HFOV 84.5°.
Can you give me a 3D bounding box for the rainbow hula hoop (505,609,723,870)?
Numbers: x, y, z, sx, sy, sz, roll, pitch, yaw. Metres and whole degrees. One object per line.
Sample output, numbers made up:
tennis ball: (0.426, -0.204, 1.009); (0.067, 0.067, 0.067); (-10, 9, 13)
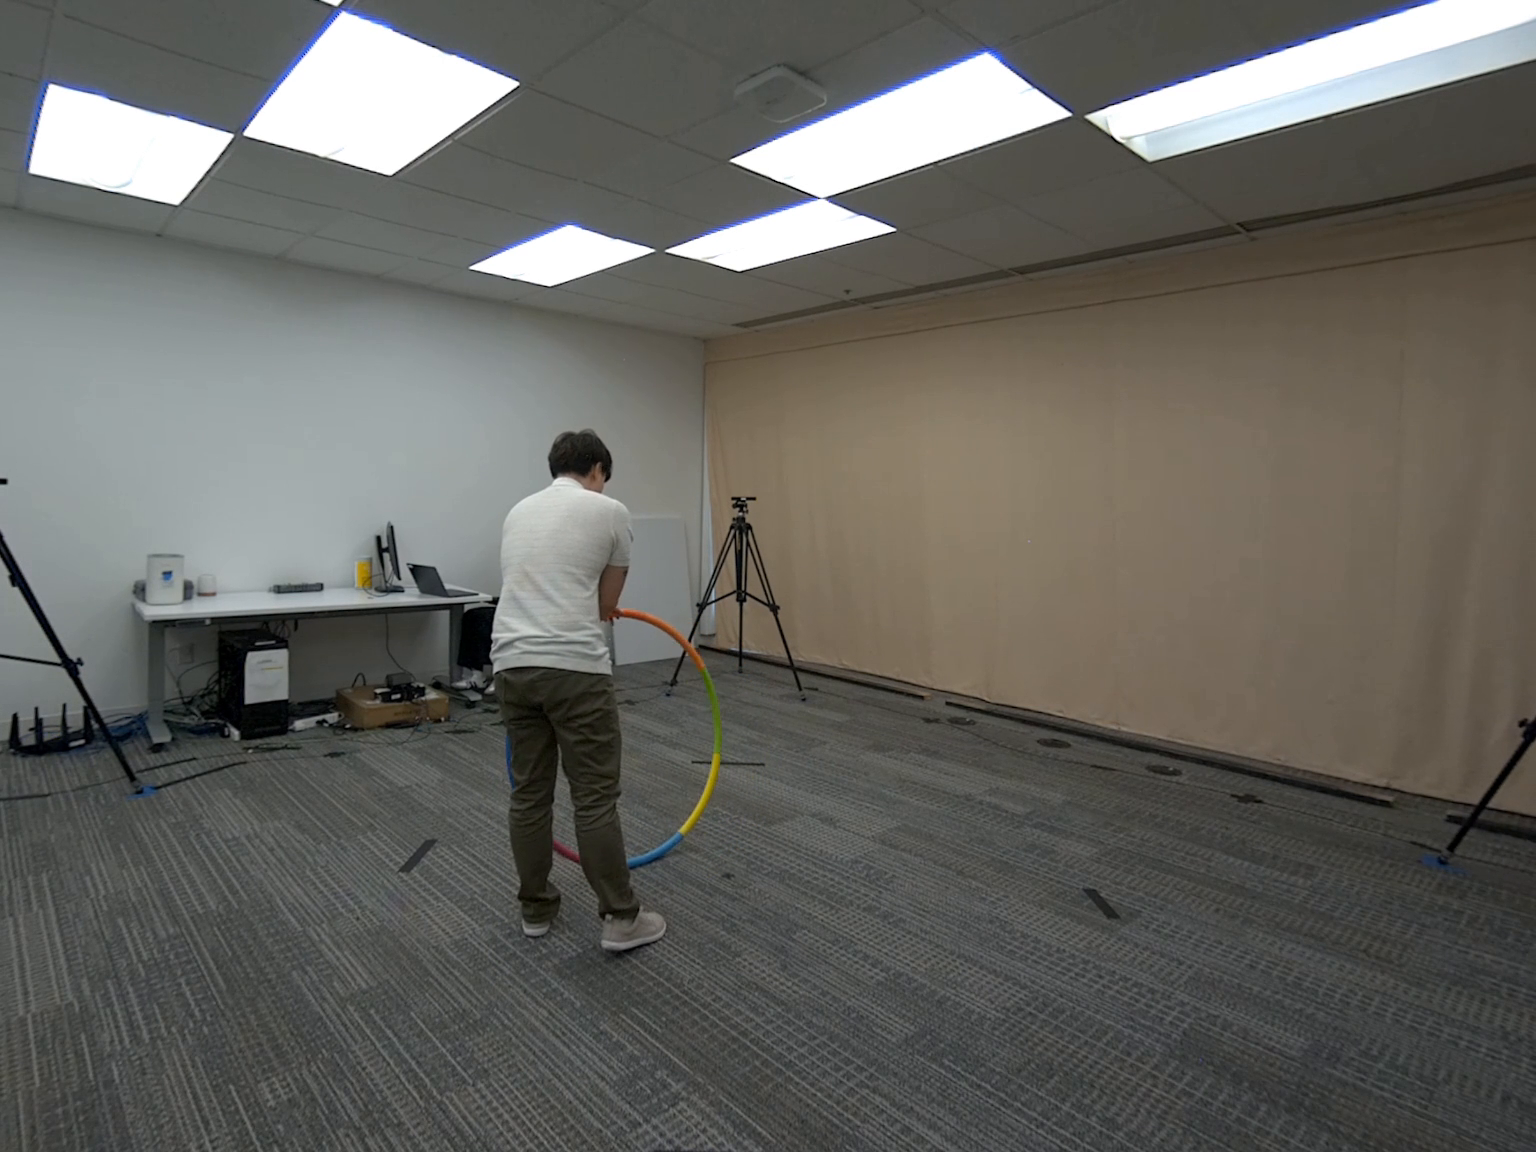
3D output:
rainbow hula hoop: (-0.555, 0.615, 3.247); (0.956, 0.986, 0.036); (-3, -11, -44)
